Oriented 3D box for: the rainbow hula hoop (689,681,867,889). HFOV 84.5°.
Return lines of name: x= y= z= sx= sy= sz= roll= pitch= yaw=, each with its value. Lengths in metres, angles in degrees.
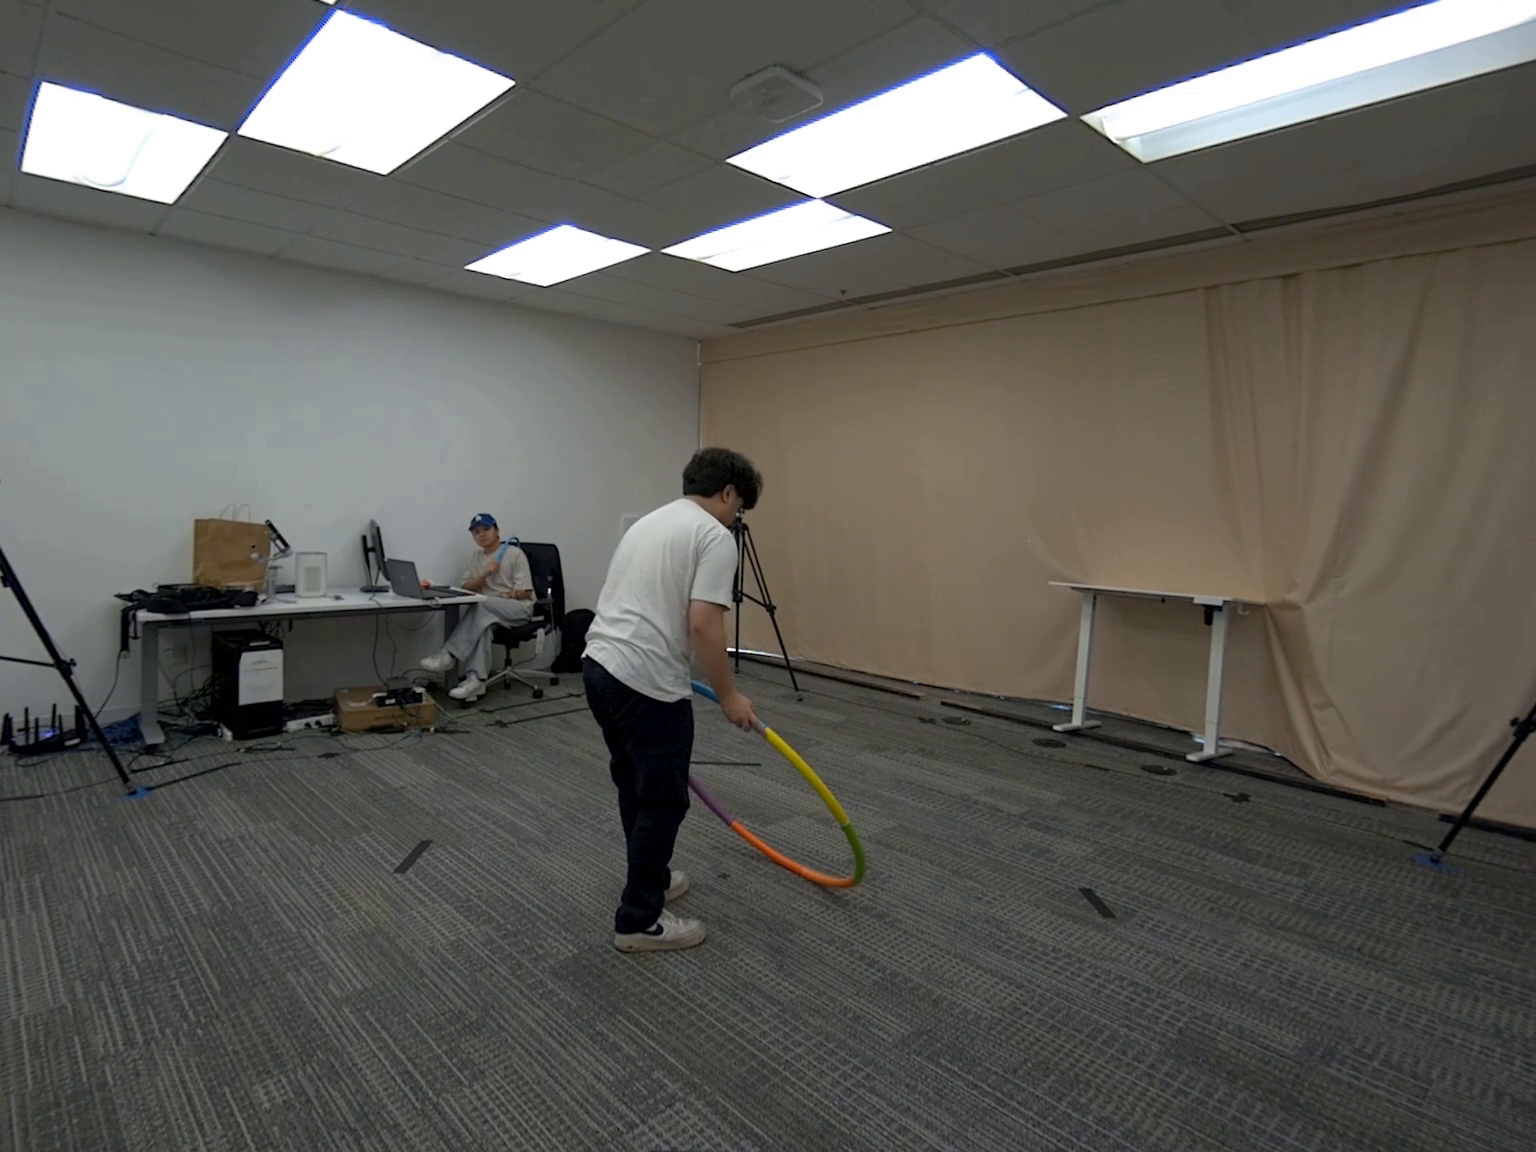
rainbow hula hoop: x=-0.074 y=0.725 z=2.954 sx=0.051 sy=0.963 sz=1.010 roll=-42 pitch=29 yaw=-29
